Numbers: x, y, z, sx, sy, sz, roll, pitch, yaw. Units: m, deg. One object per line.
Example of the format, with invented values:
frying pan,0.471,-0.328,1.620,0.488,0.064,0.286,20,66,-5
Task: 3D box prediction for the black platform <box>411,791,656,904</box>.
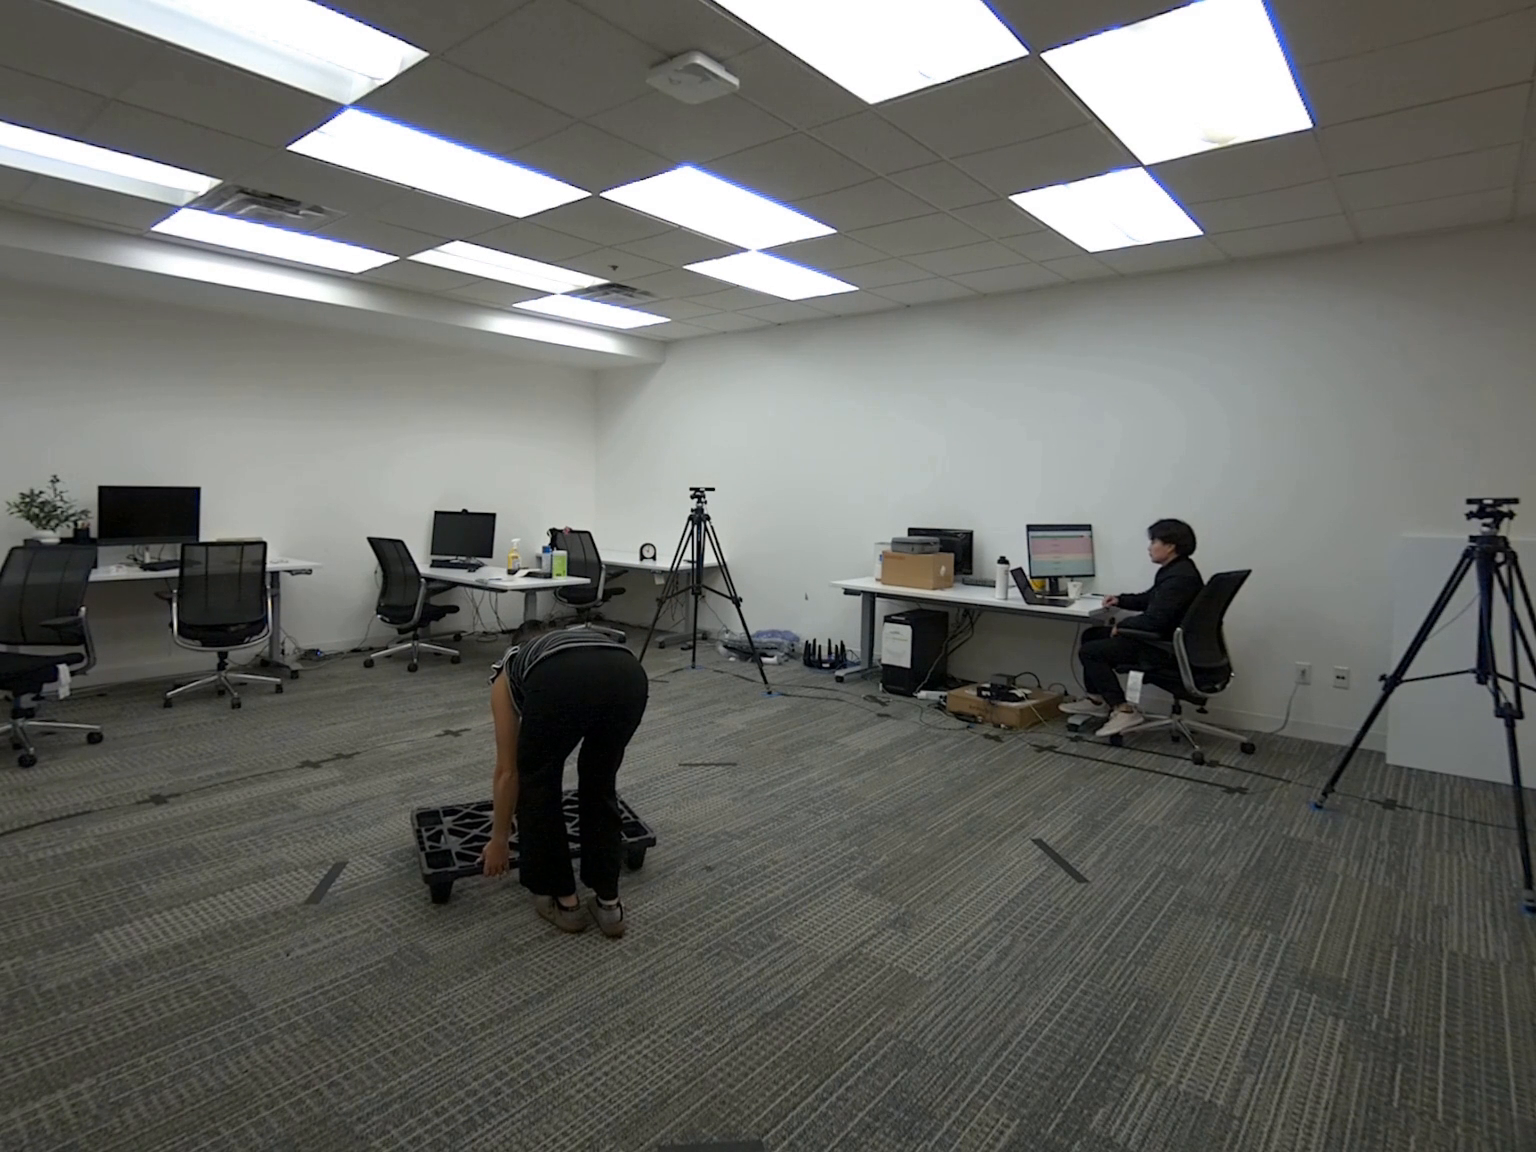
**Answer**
black platform,-0.897,0.986,3.160,0.787,0.143,0.622,-2,7,-25
